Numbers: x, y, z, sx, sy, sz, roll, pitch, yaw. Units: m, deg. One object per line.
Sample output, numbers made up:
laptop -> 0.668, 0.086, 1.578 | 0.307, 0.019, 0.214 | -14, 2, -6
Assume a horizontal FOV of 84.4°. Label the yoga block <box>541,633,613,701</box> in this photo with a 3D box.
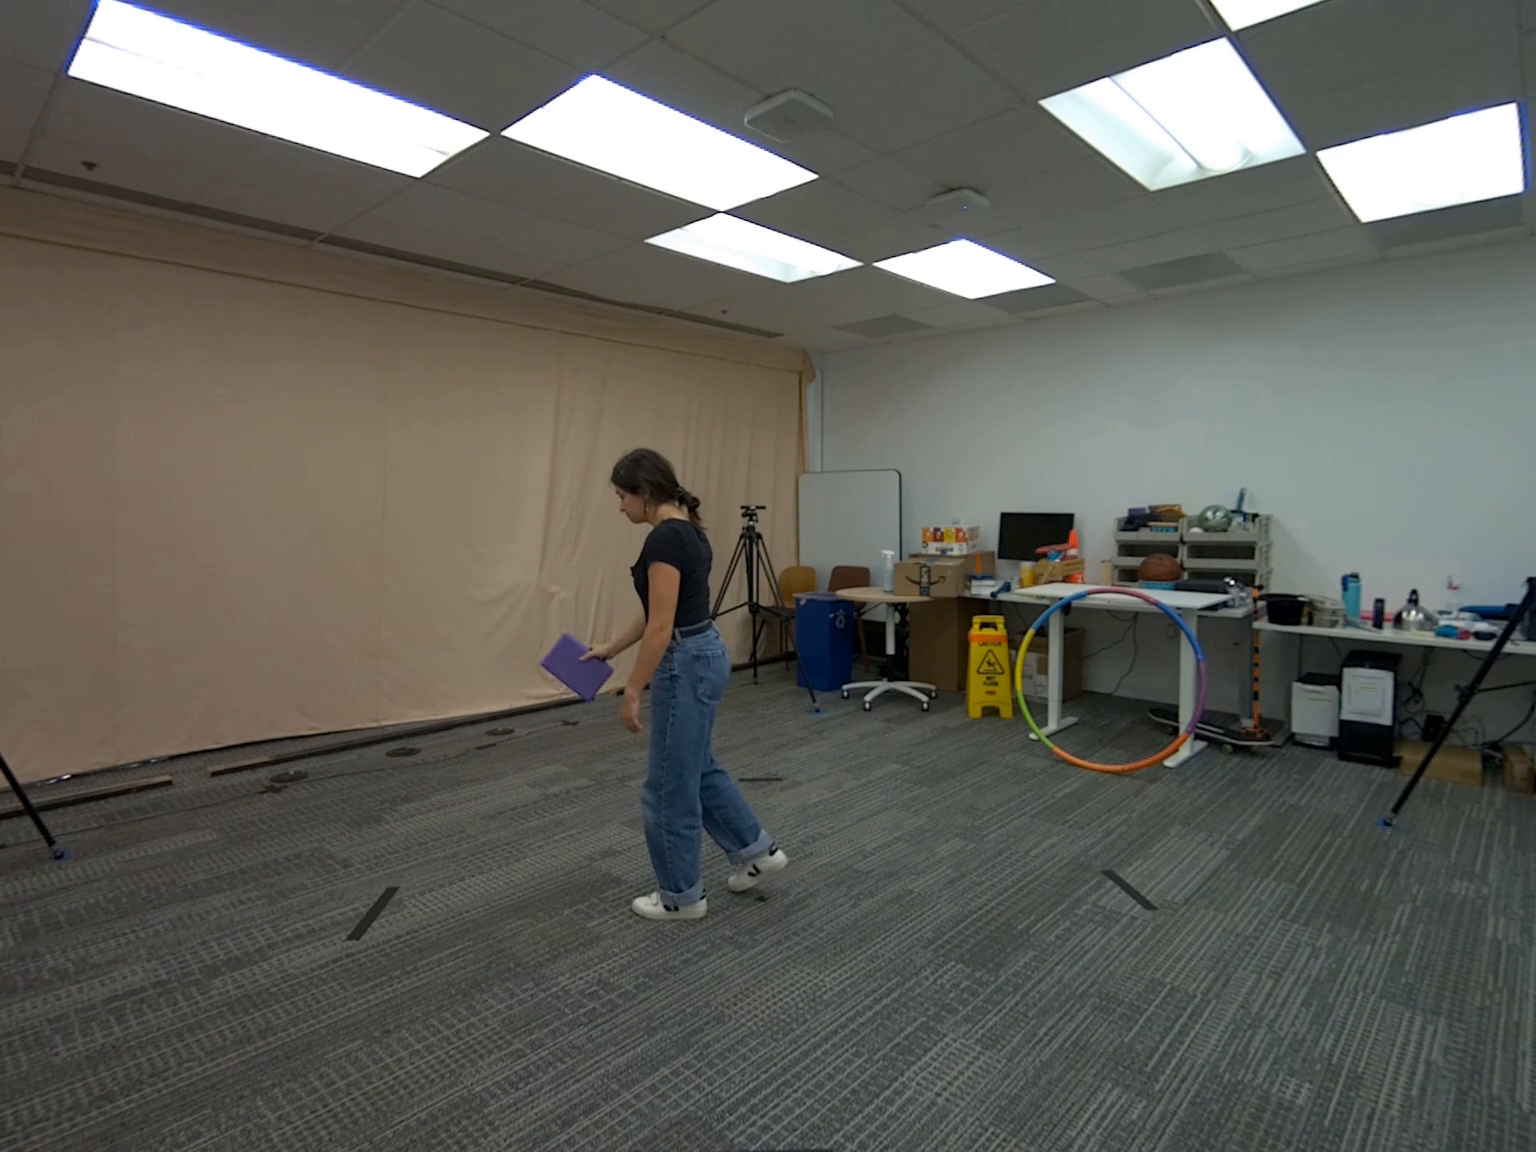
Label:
yoga block -> -0.706, 0.328, 3.079 | 0.230, 0.149, 0.076 | 38, -3, 2
